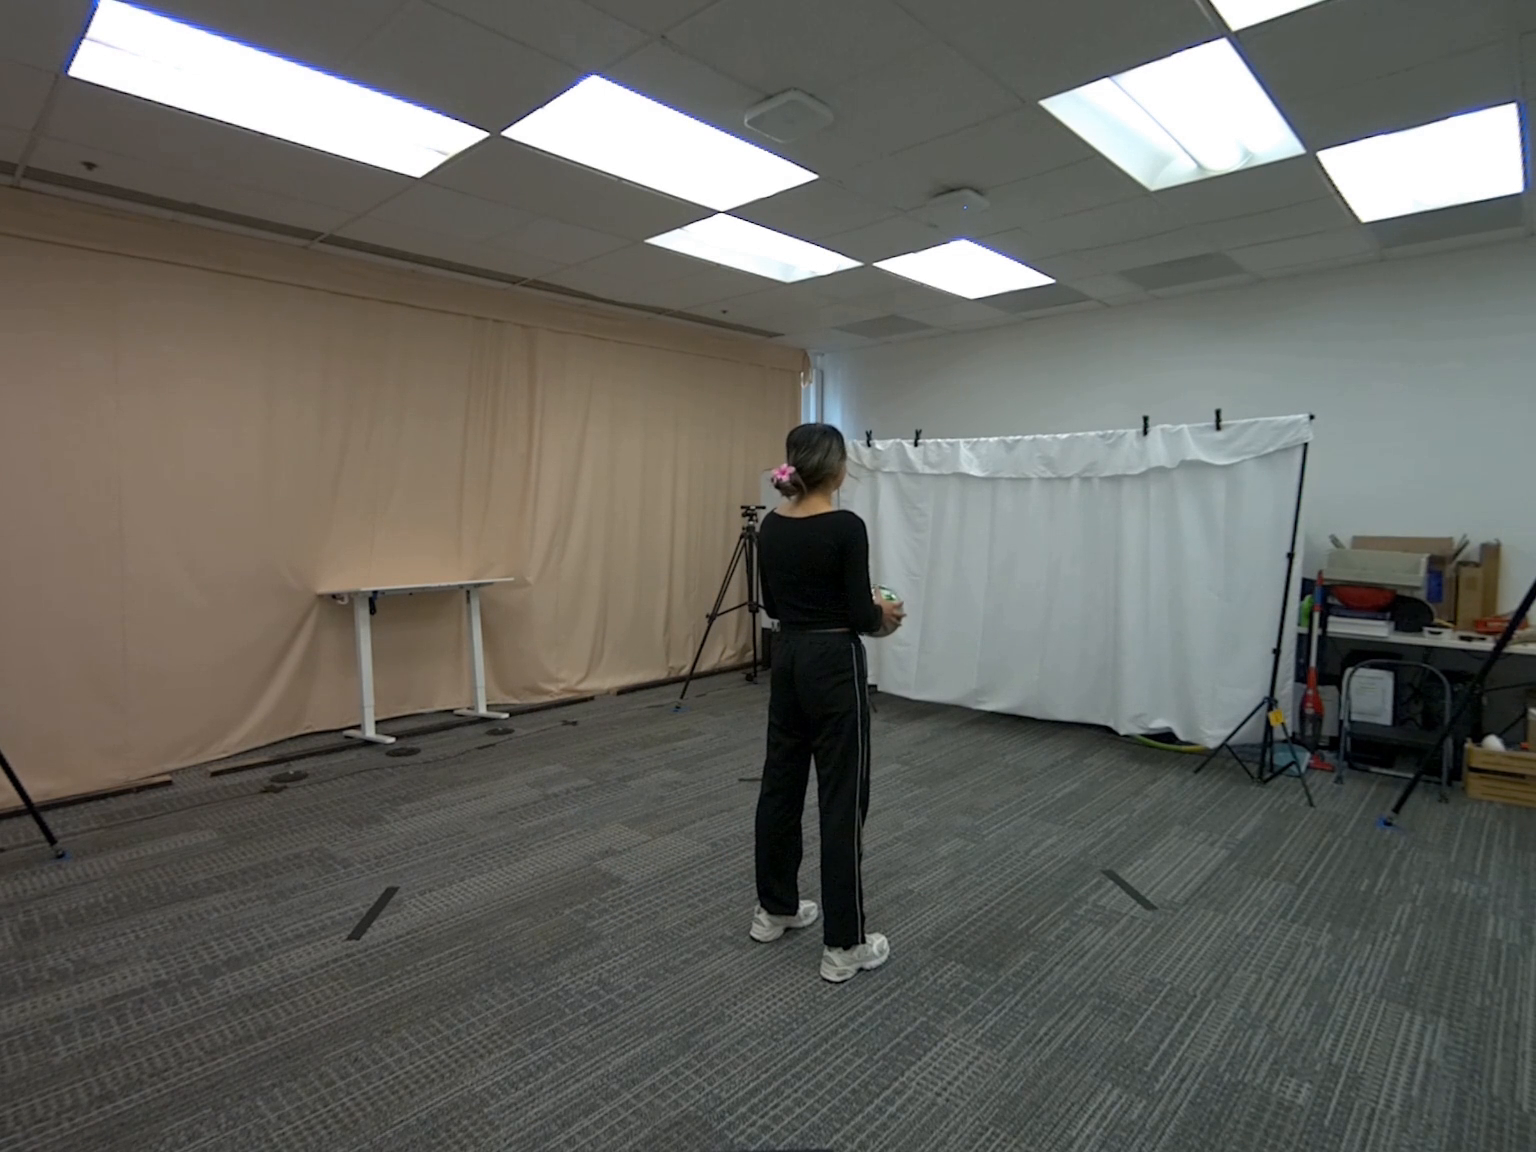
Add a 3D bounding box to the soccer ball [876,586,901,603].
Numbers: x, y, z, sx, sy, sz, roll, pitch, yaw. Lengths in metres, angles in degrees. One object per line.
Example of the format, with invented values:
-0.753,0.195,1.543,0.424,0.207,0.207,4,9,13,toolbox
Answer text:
0.374,0.128,2.903,0.187,0.187,0.188,0,4,-2,soccer ball
